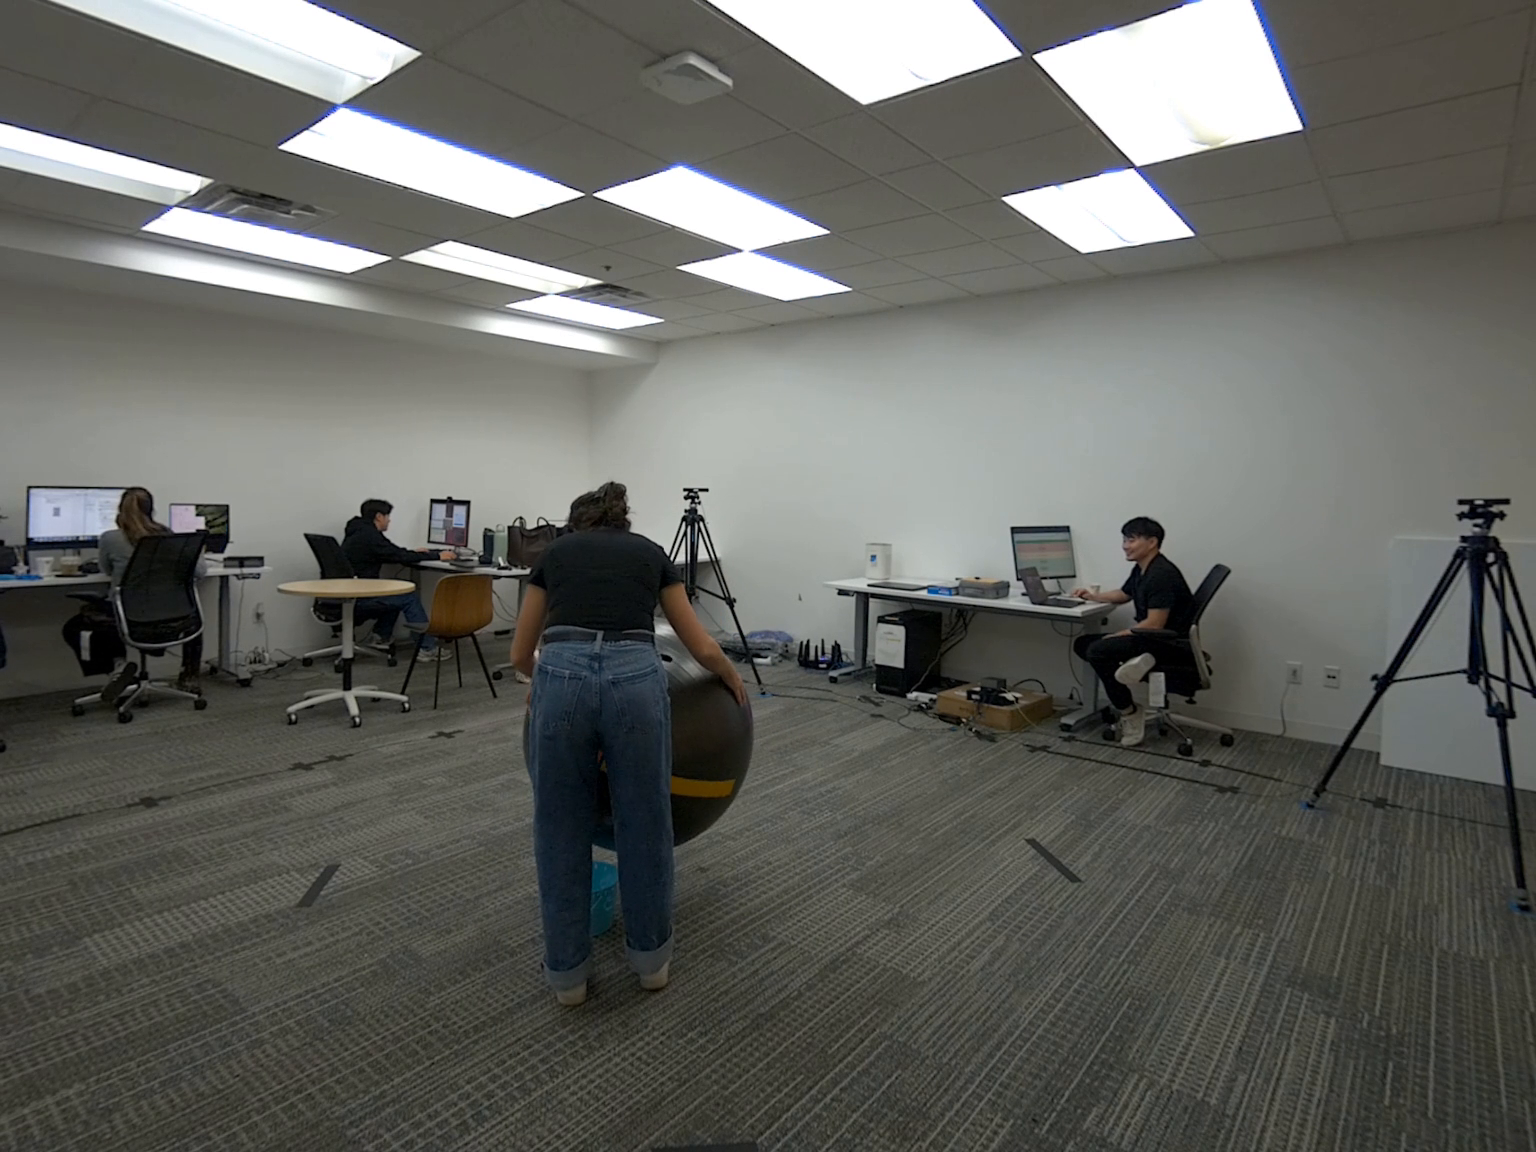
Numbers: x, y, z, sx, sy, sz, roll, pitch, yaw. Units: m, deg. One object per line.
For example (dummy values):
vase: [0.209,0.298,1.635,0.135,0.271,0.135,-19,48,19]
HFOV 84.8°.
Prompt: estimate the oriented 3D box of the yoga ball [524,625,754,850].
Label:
yoga ball: [-0.436,0.524,2.819,0.757,0.756,0.762,1,4,-2]
